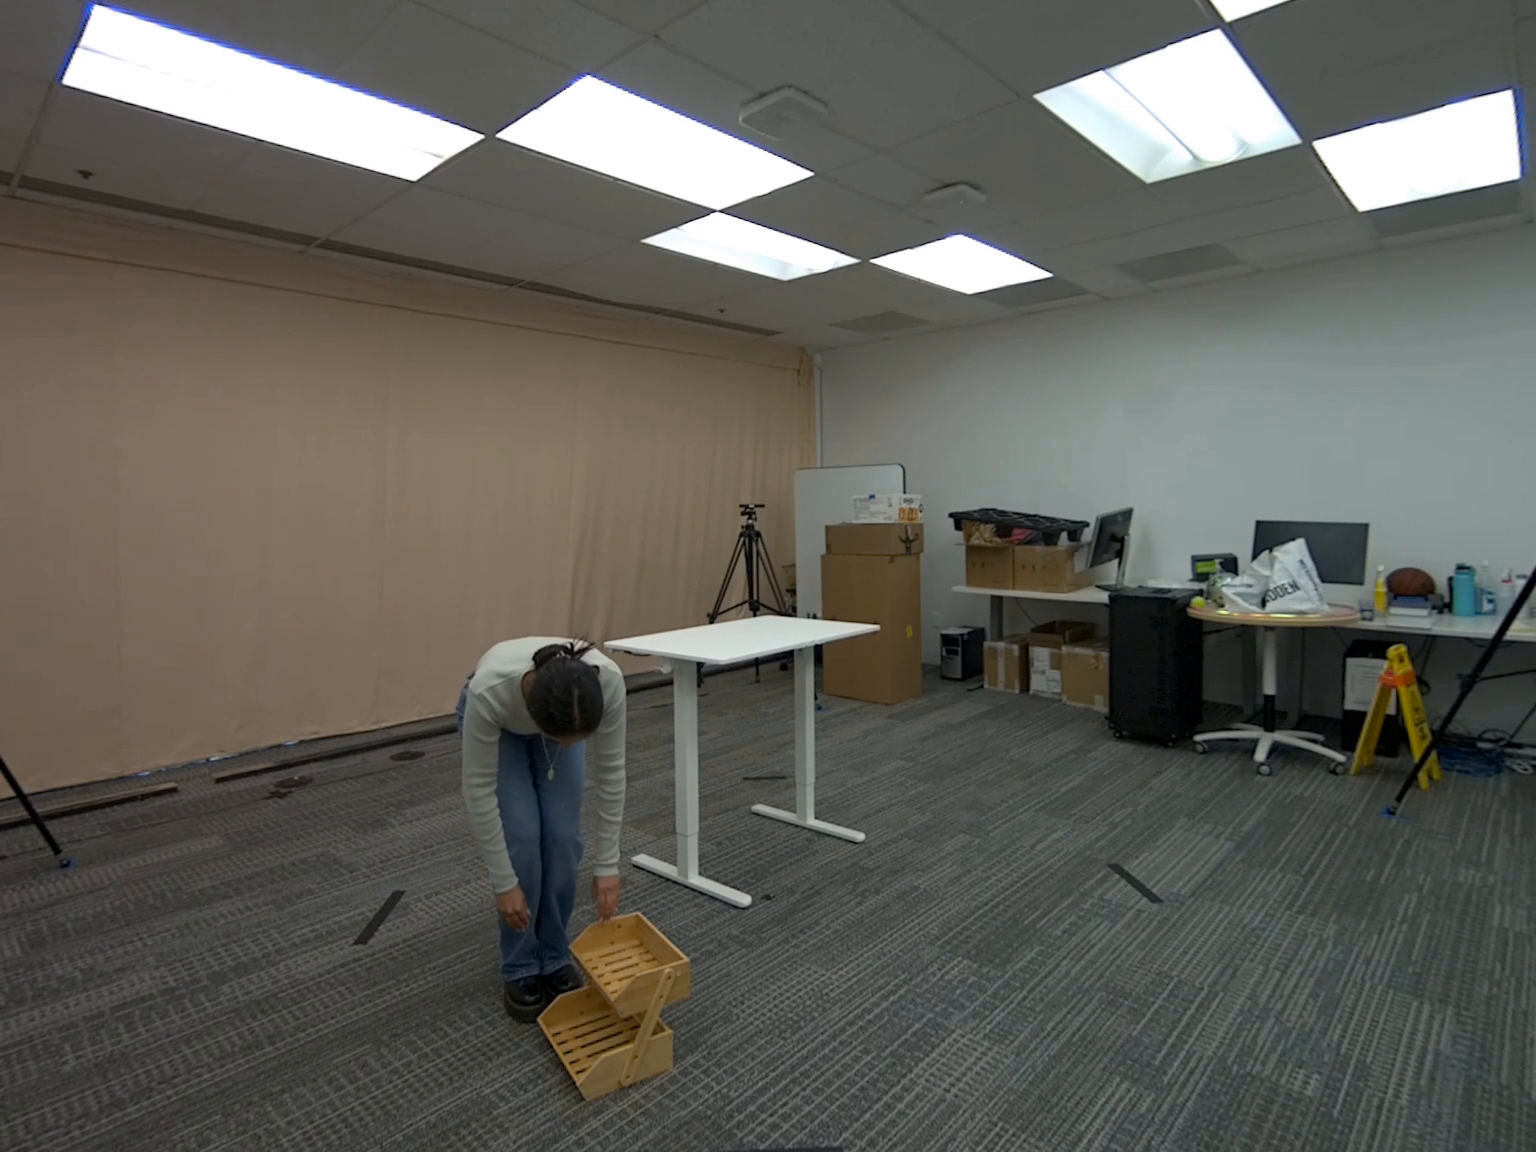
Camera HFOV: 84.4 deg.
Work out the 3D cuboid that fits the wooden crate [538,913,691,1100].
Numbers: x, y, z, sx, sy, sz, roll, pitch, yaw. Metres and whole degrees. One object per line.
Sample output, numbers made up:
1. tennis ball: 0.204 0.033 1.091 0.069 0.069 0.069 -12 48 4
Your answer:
1. wooden crate: -0.403 1.084 2.160 0.293 0.273 0.334 -3 3 -33
